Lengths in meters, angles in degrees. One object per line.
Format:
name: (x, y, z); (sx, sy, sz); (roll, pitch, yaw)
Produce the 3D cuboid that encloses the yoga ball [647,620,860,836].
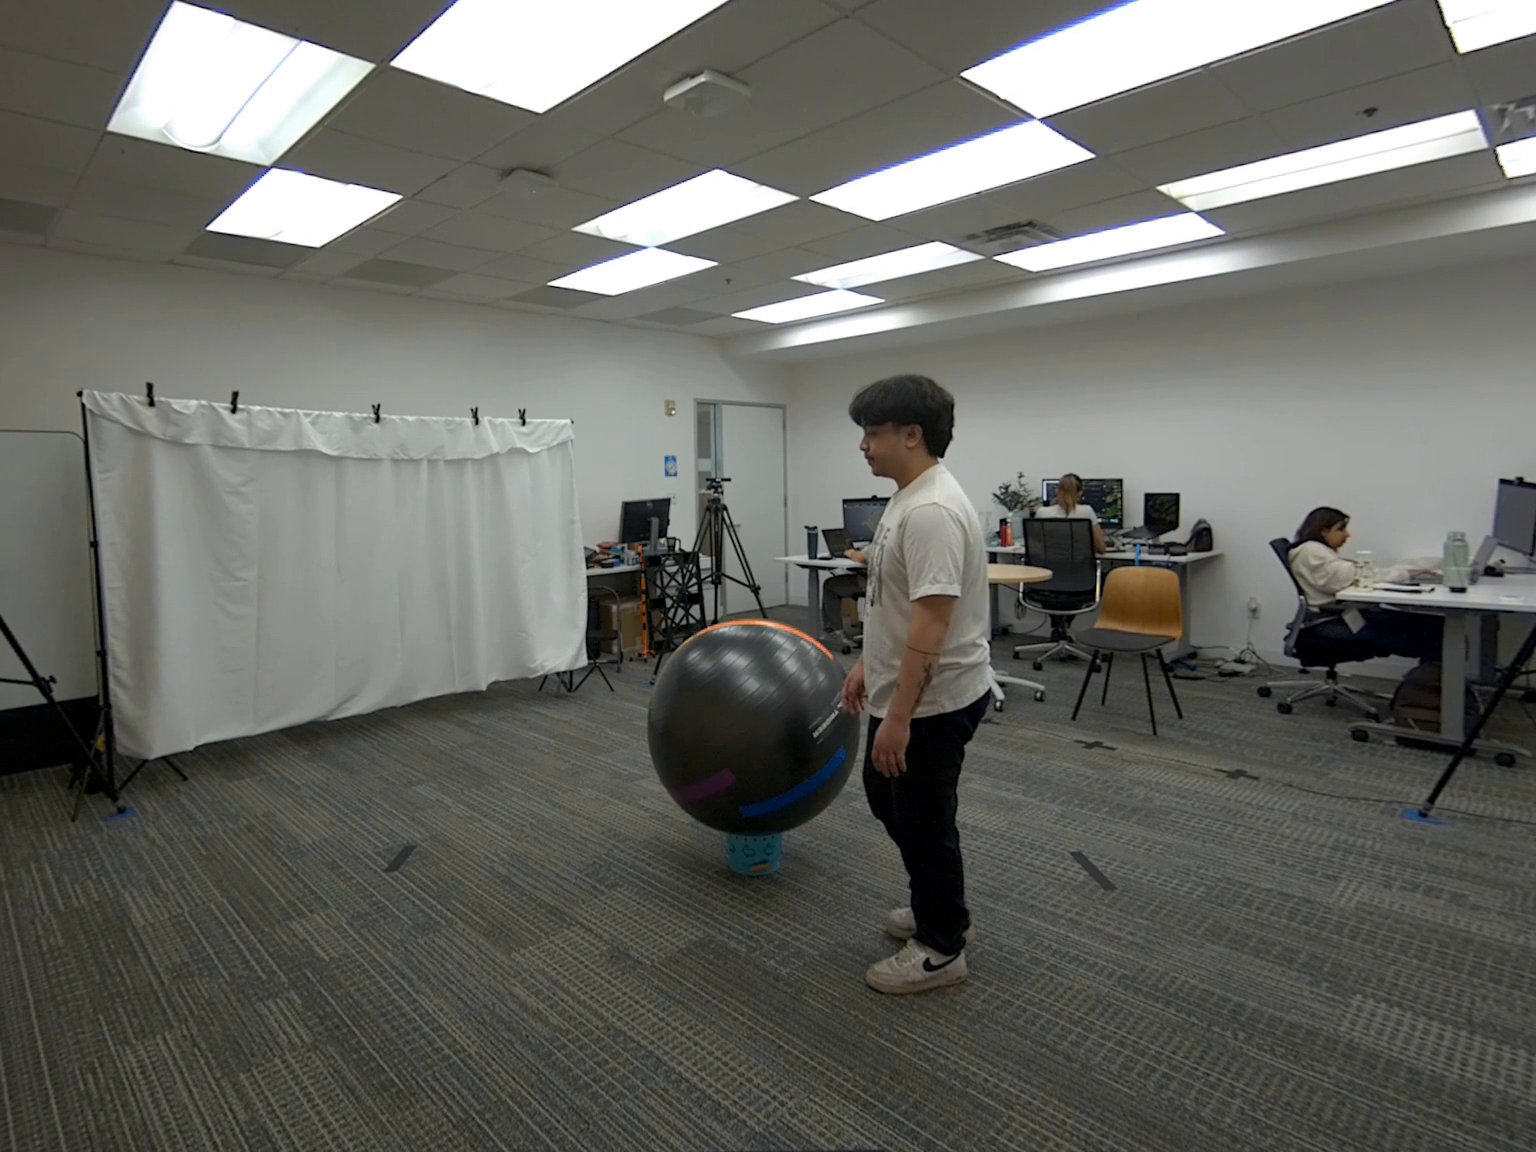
yoga ball: (-0.055, 0.536, 3.060); (0.757, 0.755, 0.762); (-1, 5, -2)
